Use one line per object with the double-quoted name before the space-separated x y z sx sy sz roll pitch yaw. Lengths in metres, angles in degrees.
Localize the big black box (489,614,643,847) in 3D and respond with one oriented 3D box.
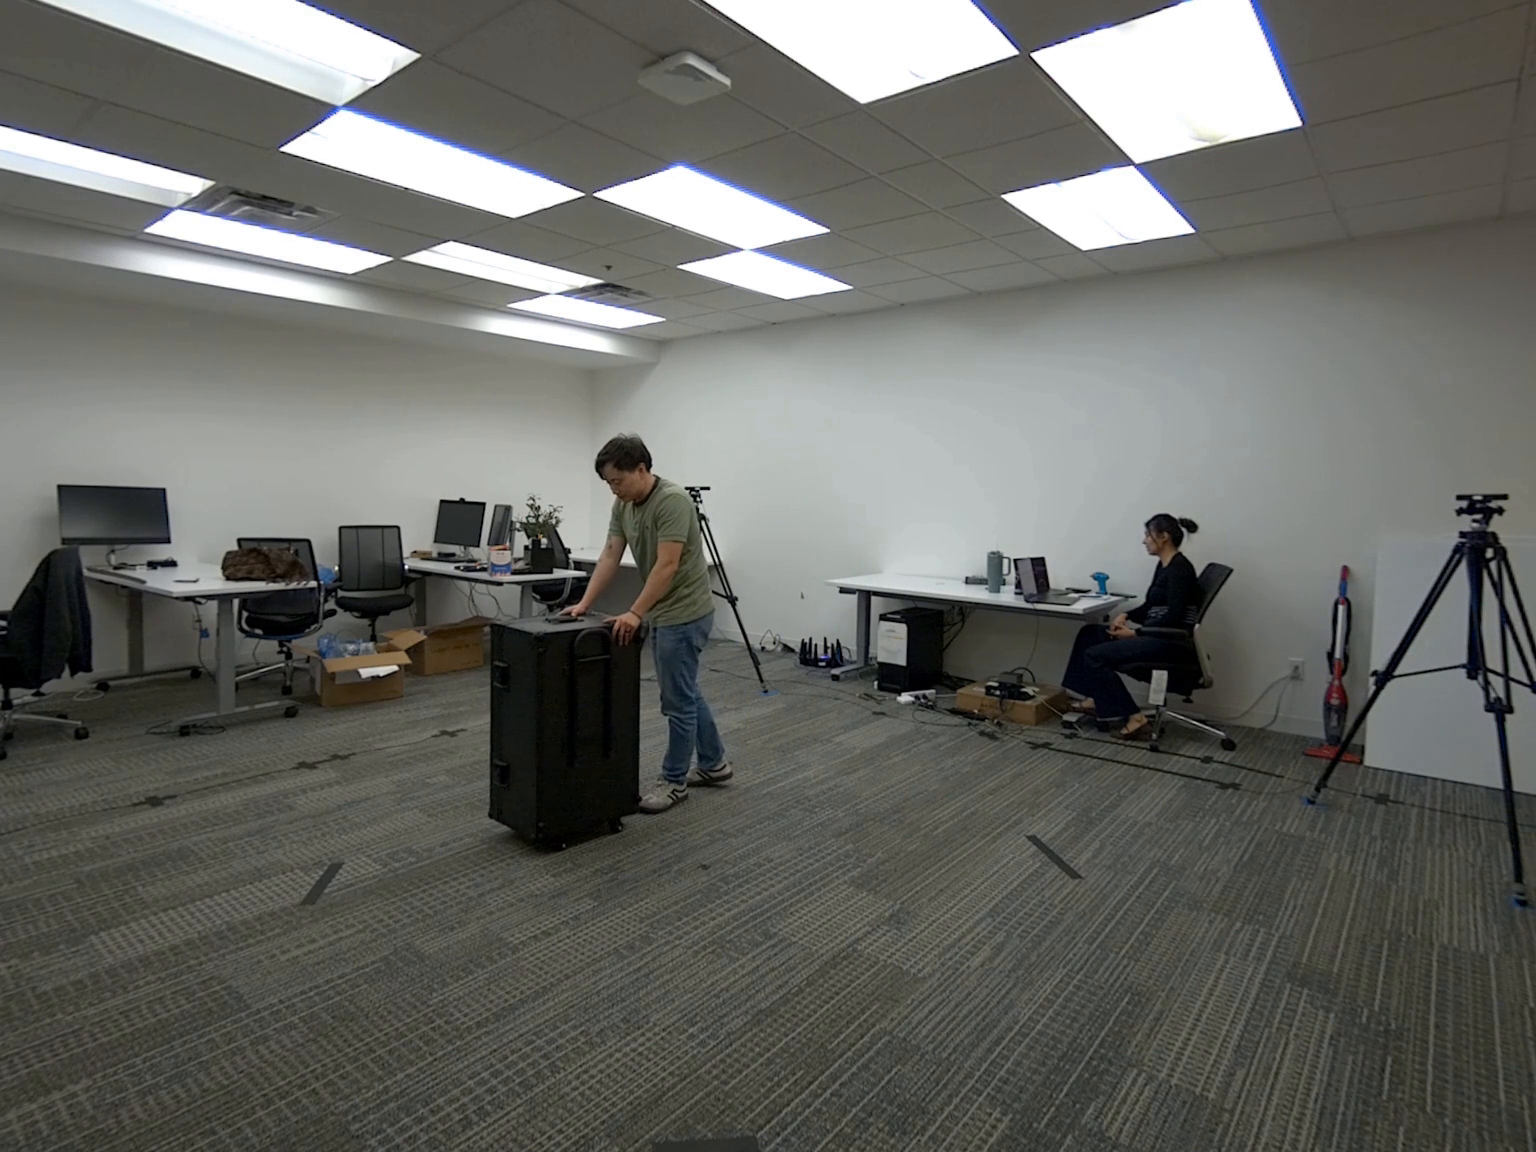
"big black box" -0.812 0.607 3.391 0.505 0.859 0.410 -2 5 -45
